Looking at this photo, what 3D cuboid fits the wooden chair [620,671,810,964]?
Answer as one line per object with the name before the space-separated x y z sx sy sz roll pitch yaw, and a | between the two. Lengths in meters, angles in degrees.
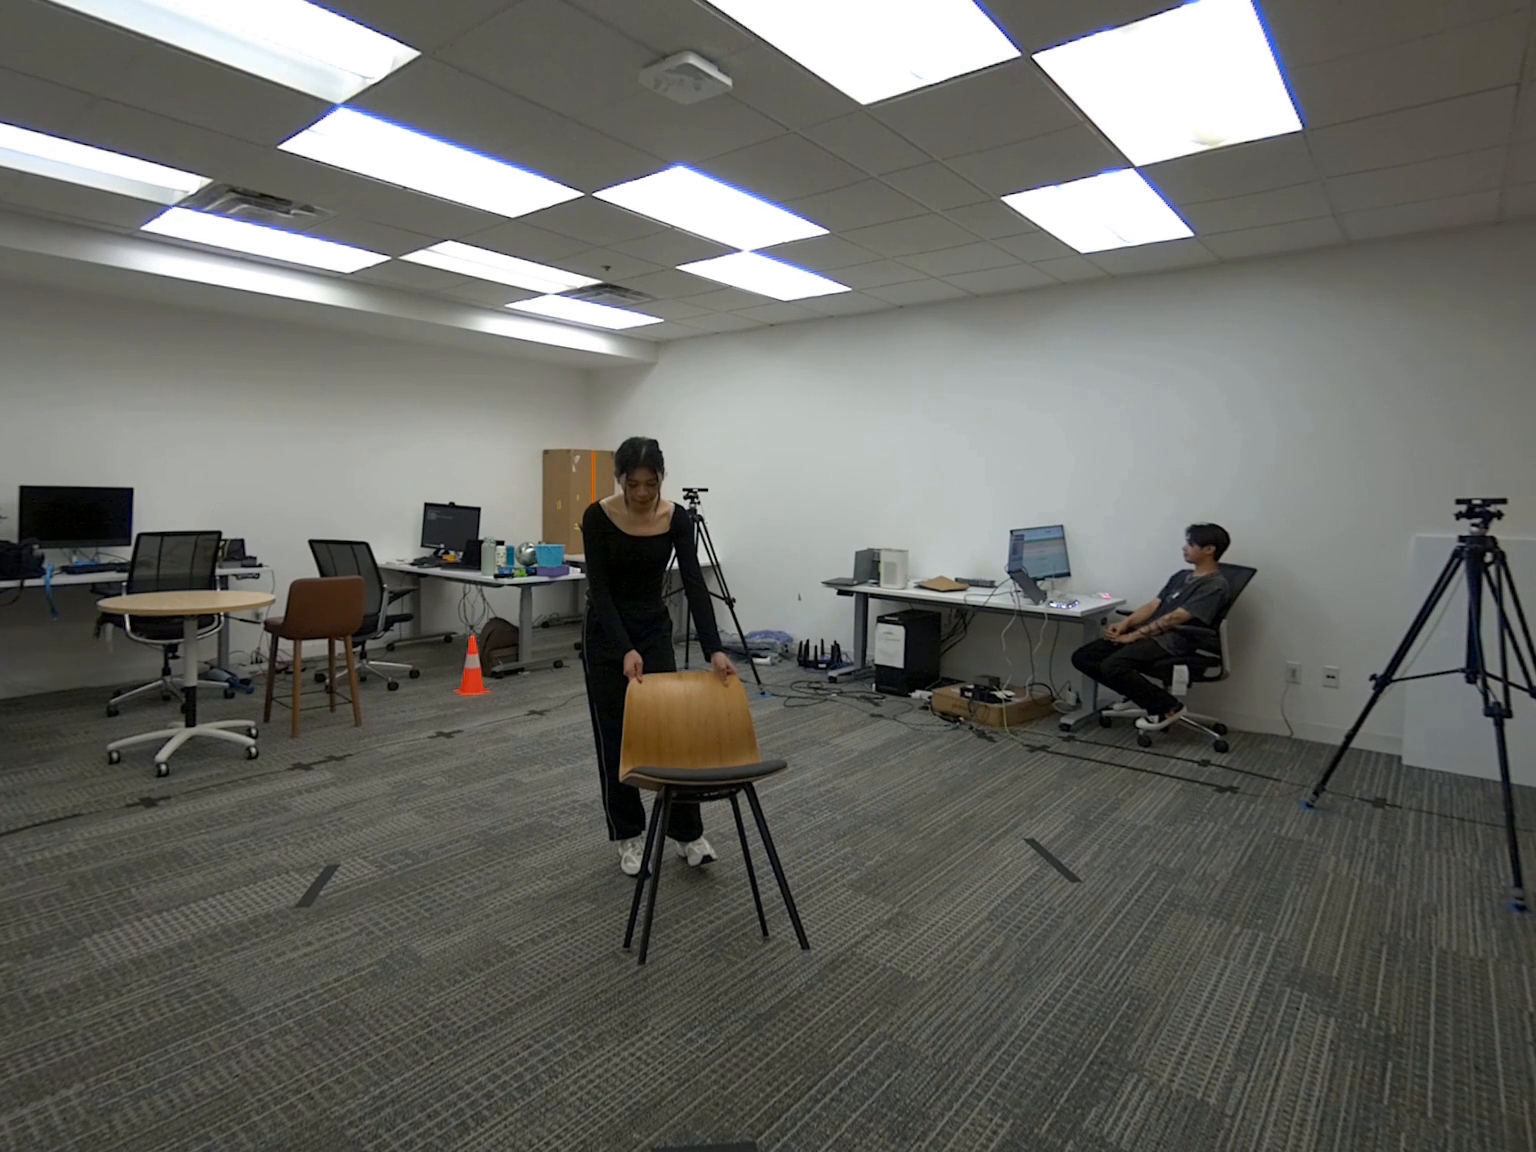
wooden chair | -0.201 0.641 2.532 0.472 0.898 0.518 0 -24 -14
